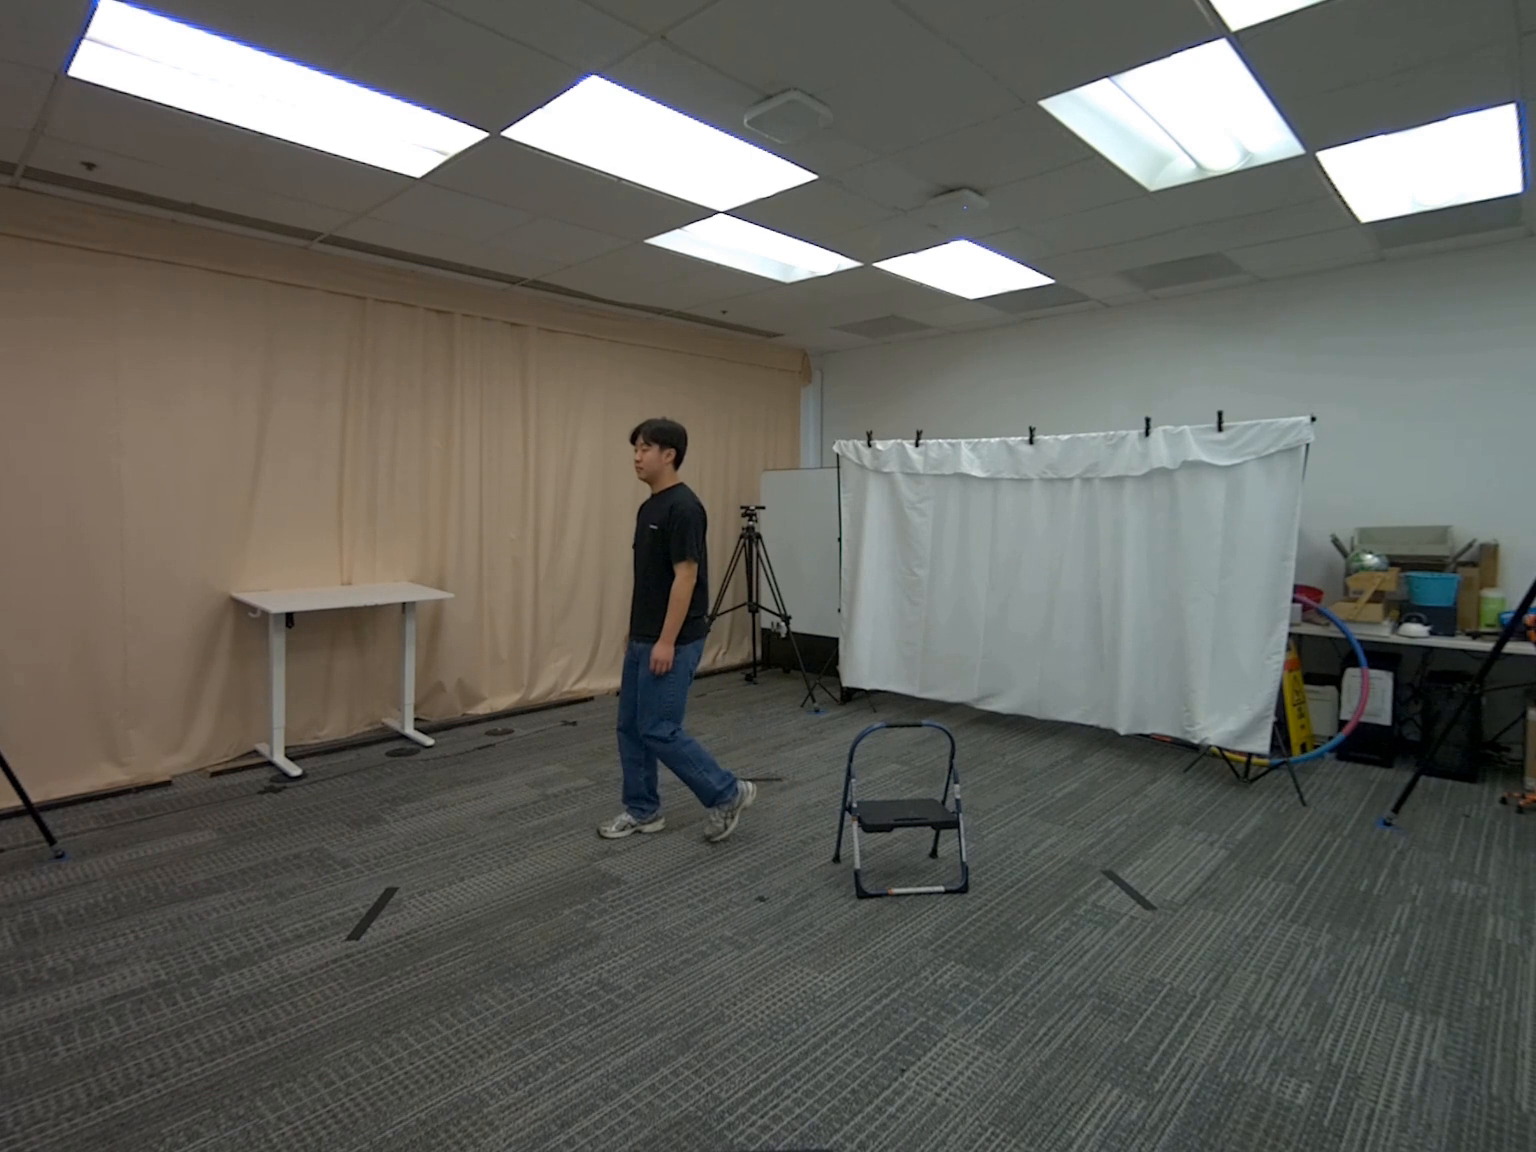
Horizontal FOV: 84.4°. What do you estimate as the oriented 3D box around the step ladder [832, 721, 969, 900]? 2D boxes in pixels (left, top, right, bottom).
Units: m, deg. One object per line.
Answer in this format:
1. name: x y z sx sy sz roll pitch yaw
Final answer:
1. step ladder: 0.495 0.830 3.150 0.427 0.605 0.353 -1 3 -9
